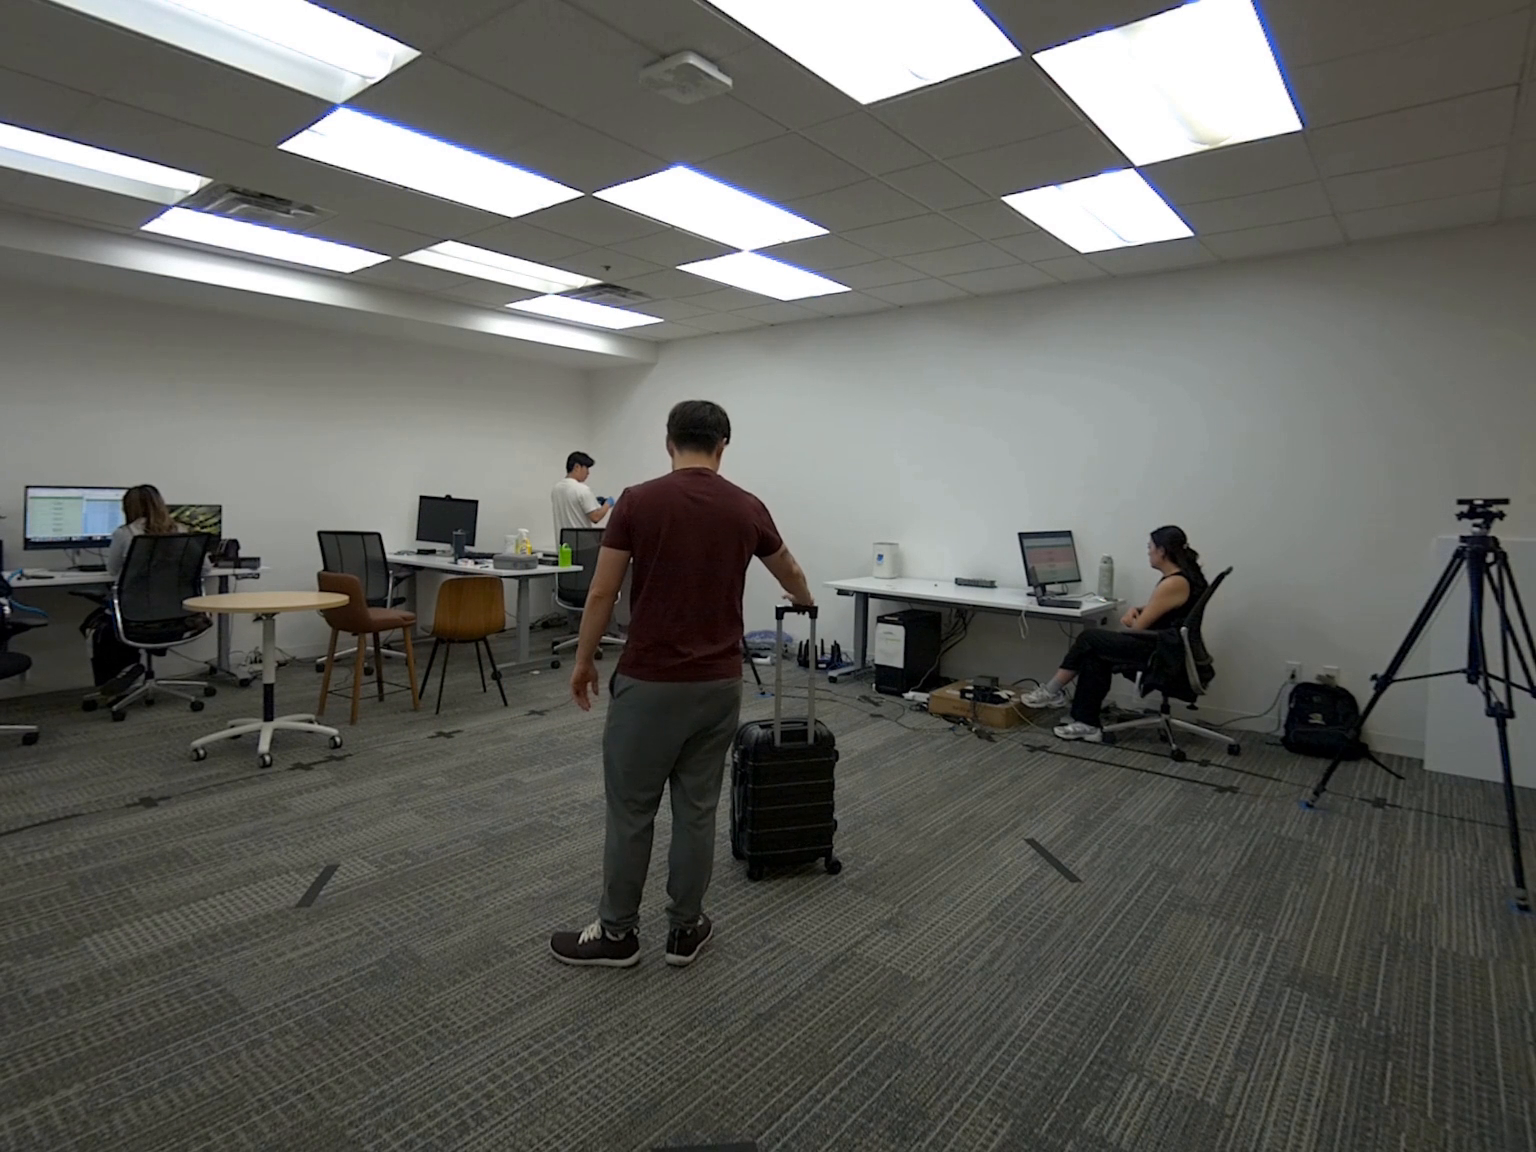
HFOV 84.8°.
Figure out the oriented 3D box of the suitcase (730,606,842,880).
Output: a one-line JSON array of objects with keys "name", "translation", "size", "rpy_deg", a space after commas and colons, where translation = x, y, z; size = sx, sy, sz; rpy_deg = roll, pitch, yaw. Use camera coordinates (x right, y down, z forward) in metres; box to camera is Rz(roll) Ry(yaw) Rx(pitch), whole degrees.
[{"name": "suitcase", "translation": [0.050, 0.591, 3.144], "size": [0.377, 0.978, 0.261], "rpy_deg": [1, 0, -17]}]
